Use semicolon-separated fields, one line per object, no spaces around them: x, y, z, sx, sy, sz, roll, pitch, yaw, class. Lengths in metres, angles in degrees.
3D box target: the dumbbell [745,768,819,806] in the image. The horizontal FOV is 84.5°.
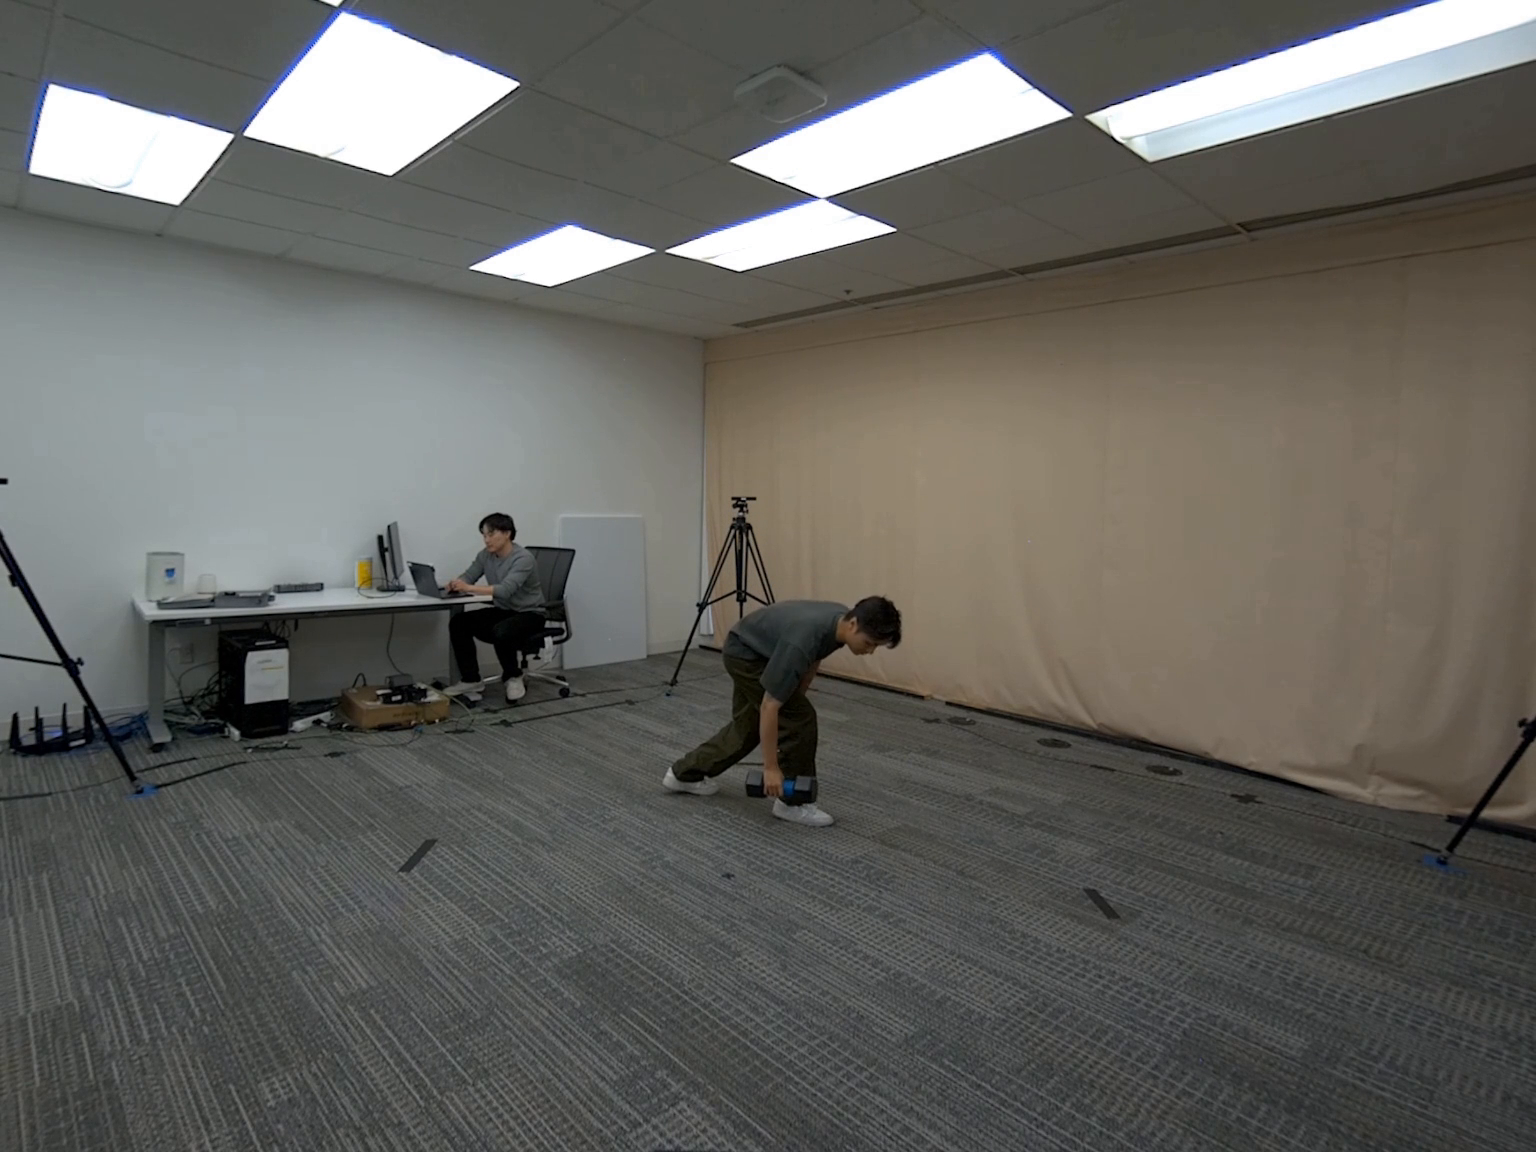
0.048;0.884;3.519;0.299;0.109;0.120;1;-12;23;dumbbell
